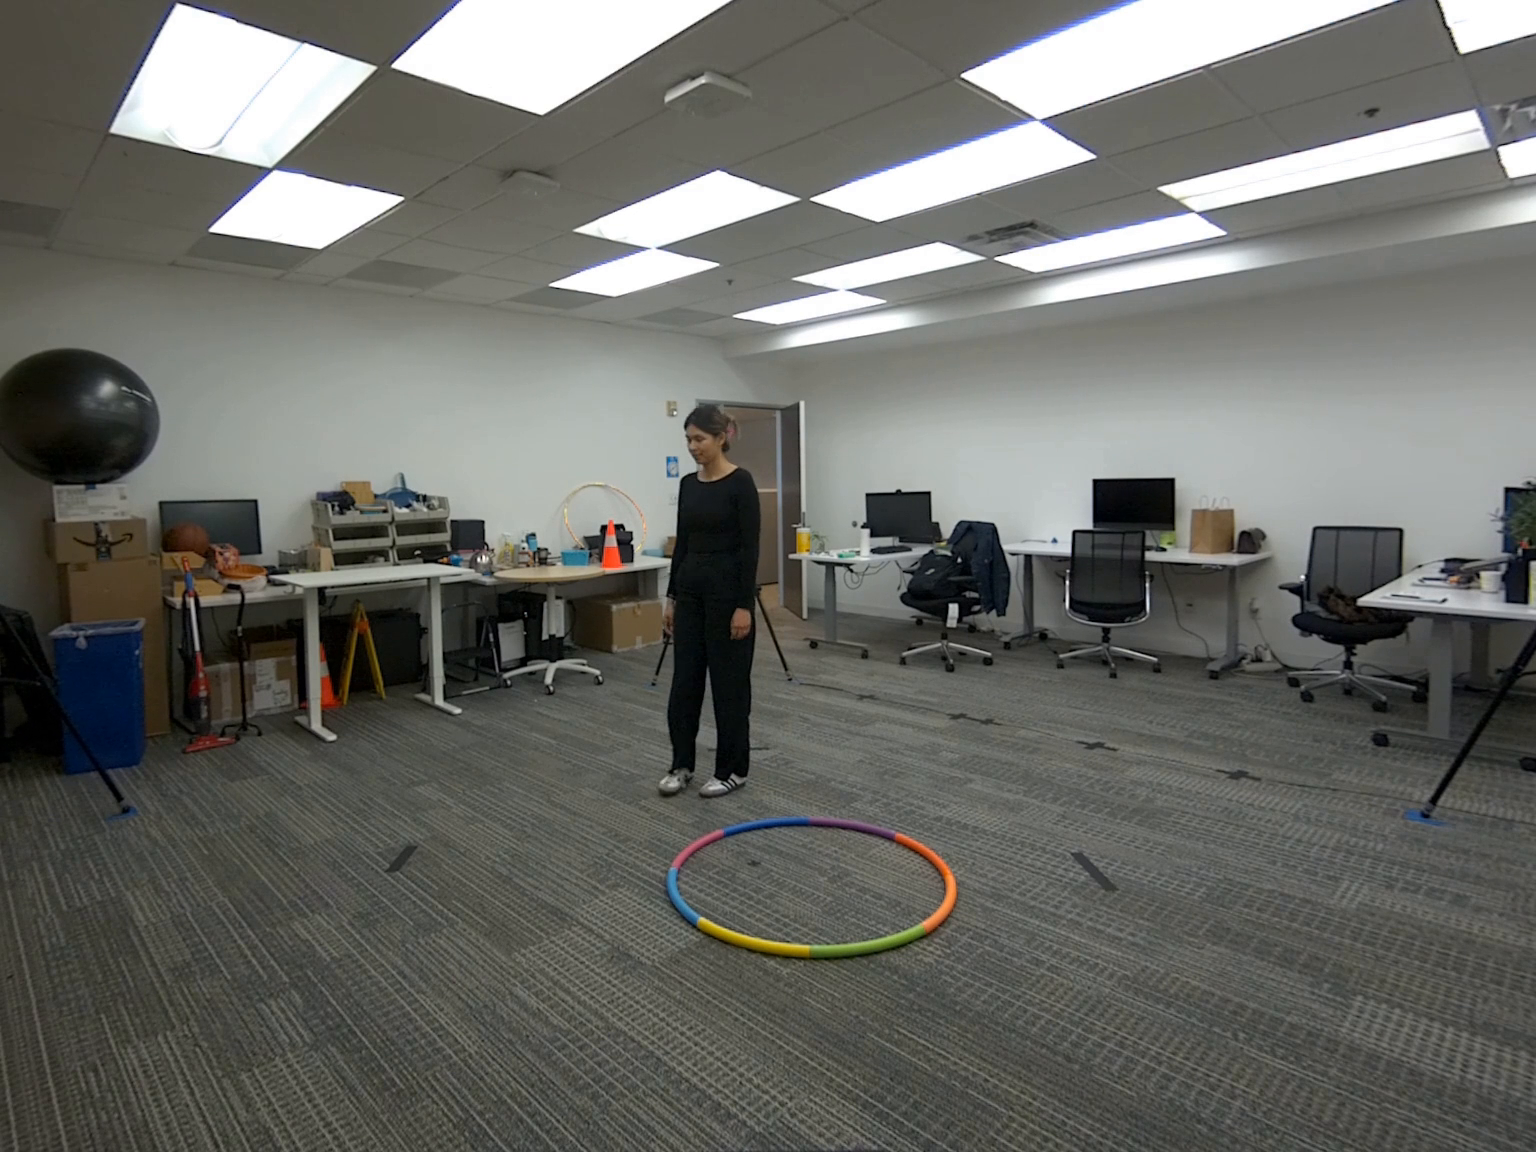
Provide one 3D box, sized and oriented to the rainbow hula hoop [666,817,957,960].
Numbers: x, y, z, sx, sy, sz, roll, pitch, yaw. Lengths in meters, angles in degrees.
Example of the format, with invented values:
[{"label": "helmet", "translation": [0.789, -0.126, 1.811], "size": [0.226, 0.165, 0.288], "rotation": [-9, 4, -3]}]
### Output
[{"label": "rainbow hula hoop", "translation": [0.142, 1.028, 2.963], "size": [0.978, 0.035, 0.984], "rotation": [-2, 7, -2]}]
